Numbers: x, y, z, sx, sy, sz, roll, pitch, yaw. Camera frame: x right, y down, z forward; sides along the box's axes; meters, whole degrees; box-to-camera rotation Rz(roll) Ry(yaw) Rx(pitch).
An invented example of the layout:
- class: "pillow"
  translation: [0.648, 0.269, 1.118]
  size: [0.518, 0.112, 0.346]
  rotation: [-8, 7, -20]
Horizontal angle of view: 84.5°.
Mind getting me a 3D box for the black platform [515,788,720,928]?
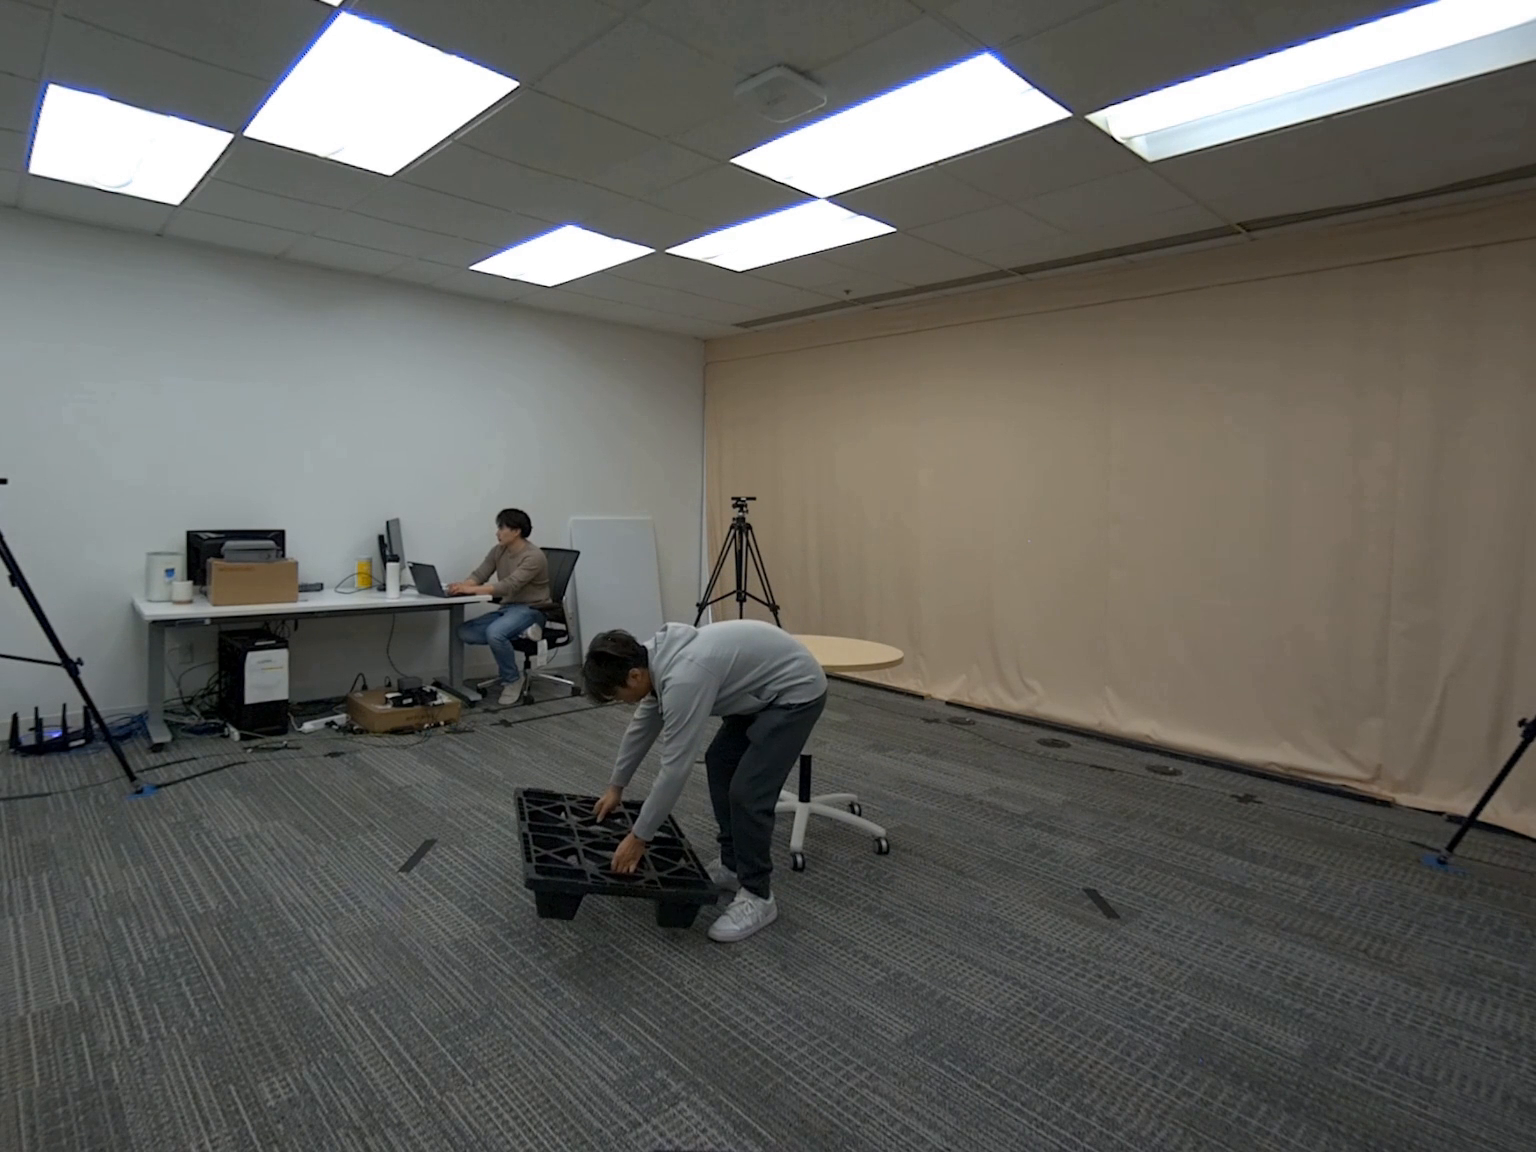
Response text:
- class: "black platform"
  translation: [-0.570, 0.954, 2.888]
  size: [0.595, 0.143, 0.819]
  rotation: [13, 2, -18]
